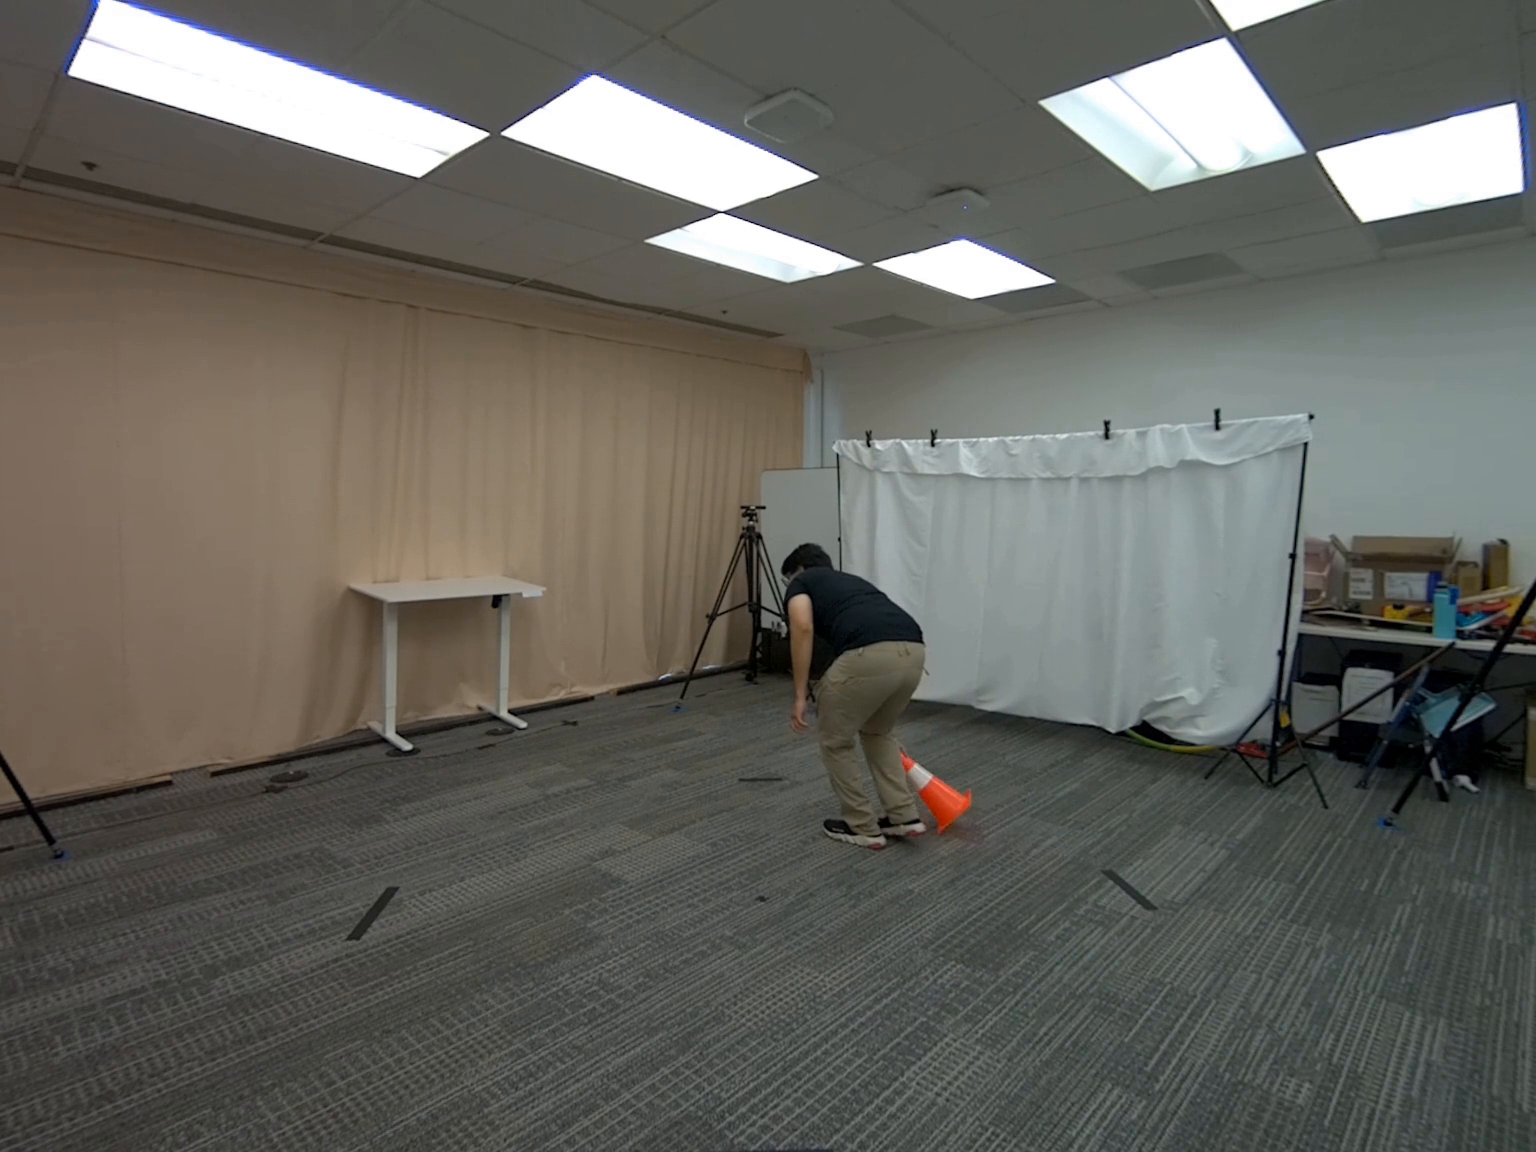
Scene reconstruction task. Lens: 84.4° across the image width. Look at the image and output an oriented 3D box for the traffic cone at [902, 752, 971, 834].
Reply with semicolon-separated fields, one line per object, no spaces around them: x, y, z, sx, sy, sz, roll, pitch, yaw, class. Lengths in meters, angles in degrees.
0.677;0.891;3.665;0.389;0.205;0.200;45;10;10;traffic cone
